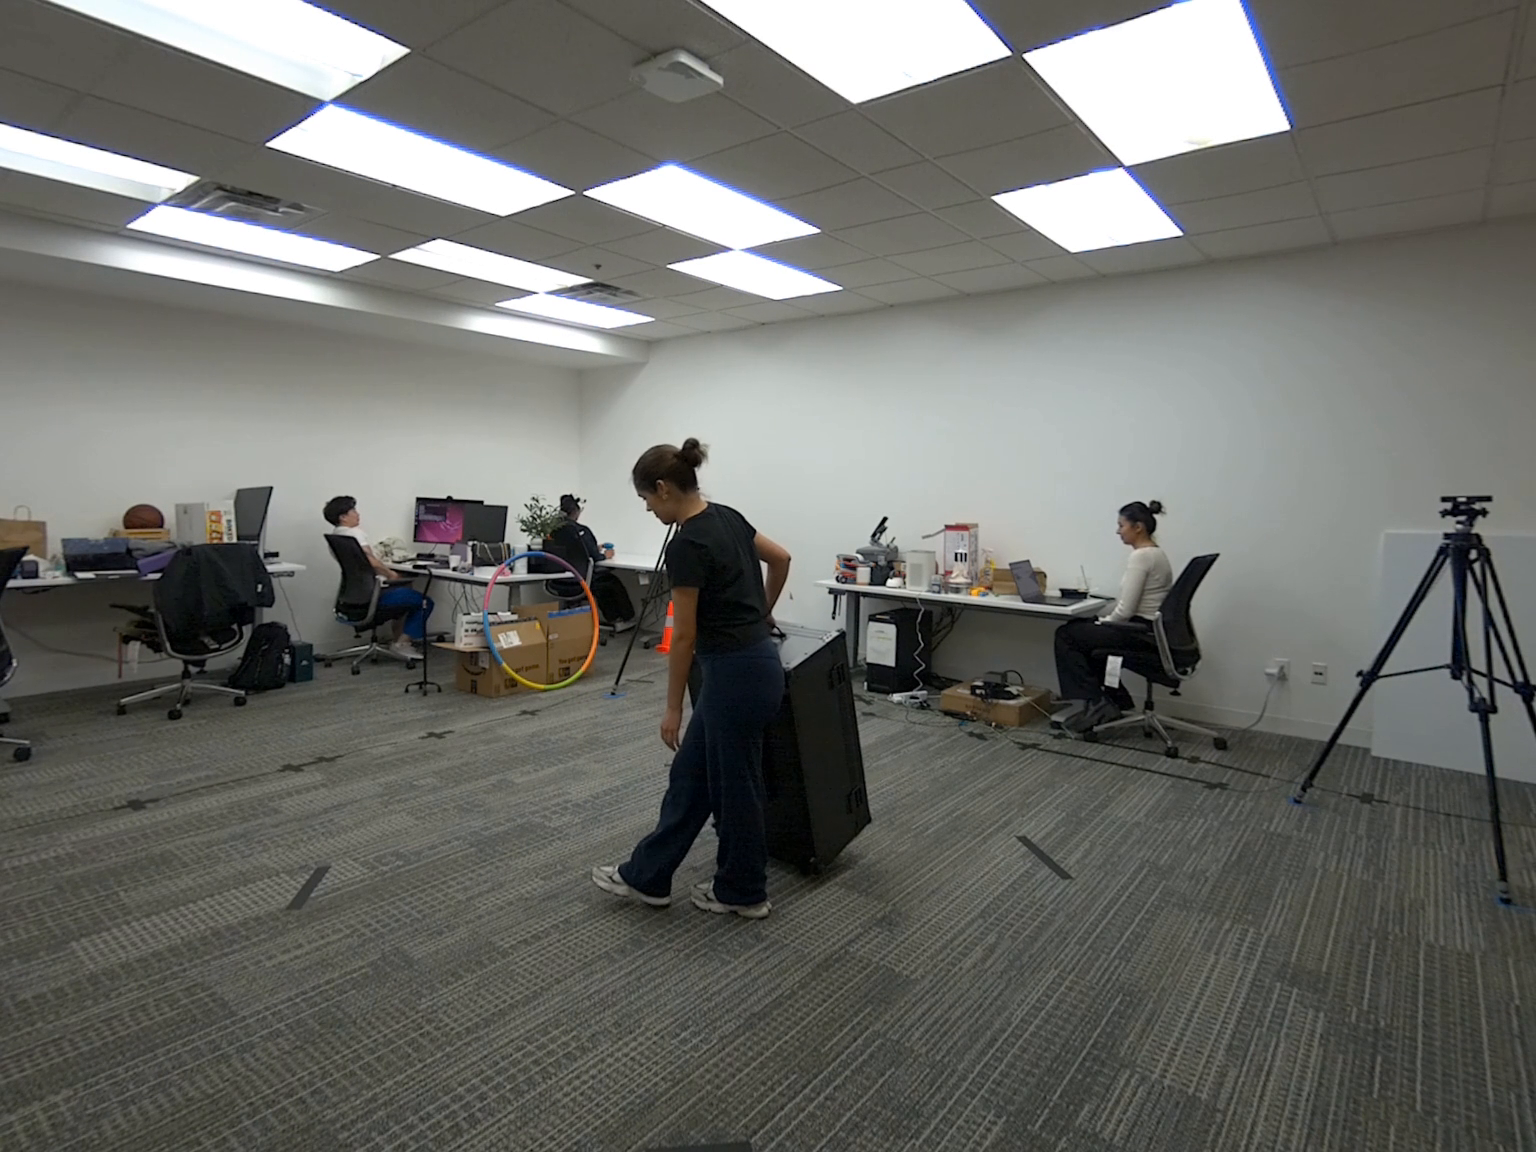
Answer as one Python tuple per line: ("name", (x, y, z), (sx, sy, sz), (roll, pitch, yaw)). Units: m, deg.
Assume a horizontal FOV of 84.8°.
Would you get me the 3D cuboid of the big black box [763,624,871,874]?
("big black box", (0.058, 0.630, 3.146), (0.539, 0.847, 0.390), (5, 21, 41))
